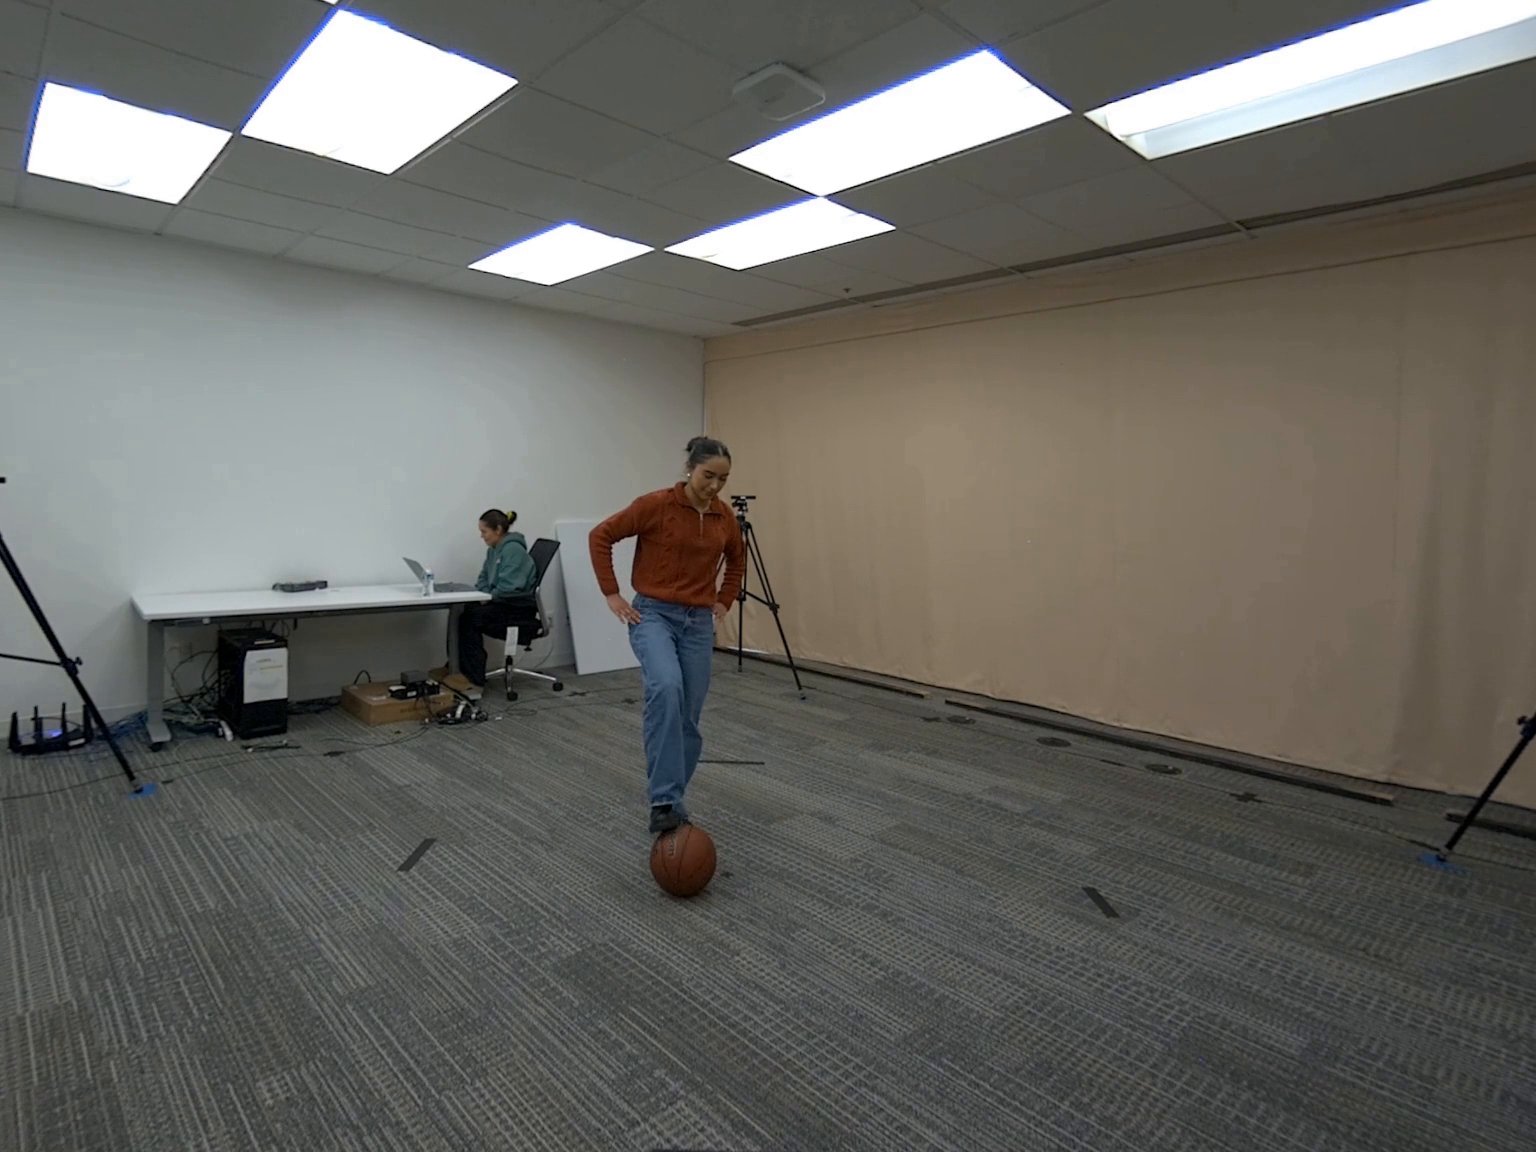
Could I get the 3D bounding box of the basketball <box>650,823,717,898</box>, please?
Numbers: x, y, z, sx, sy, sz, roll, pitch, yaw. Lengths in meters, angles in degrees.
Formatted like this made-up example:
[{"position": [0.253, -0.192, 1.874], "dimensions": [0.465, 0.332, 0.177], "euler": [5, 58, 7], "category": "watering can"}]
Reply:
[{"position": [-0.296, 0.995, 2.953], "dimensions": [0.236, 0.235, 0.237], "euler": [1, 4, -1], "category": "basketball"}]
